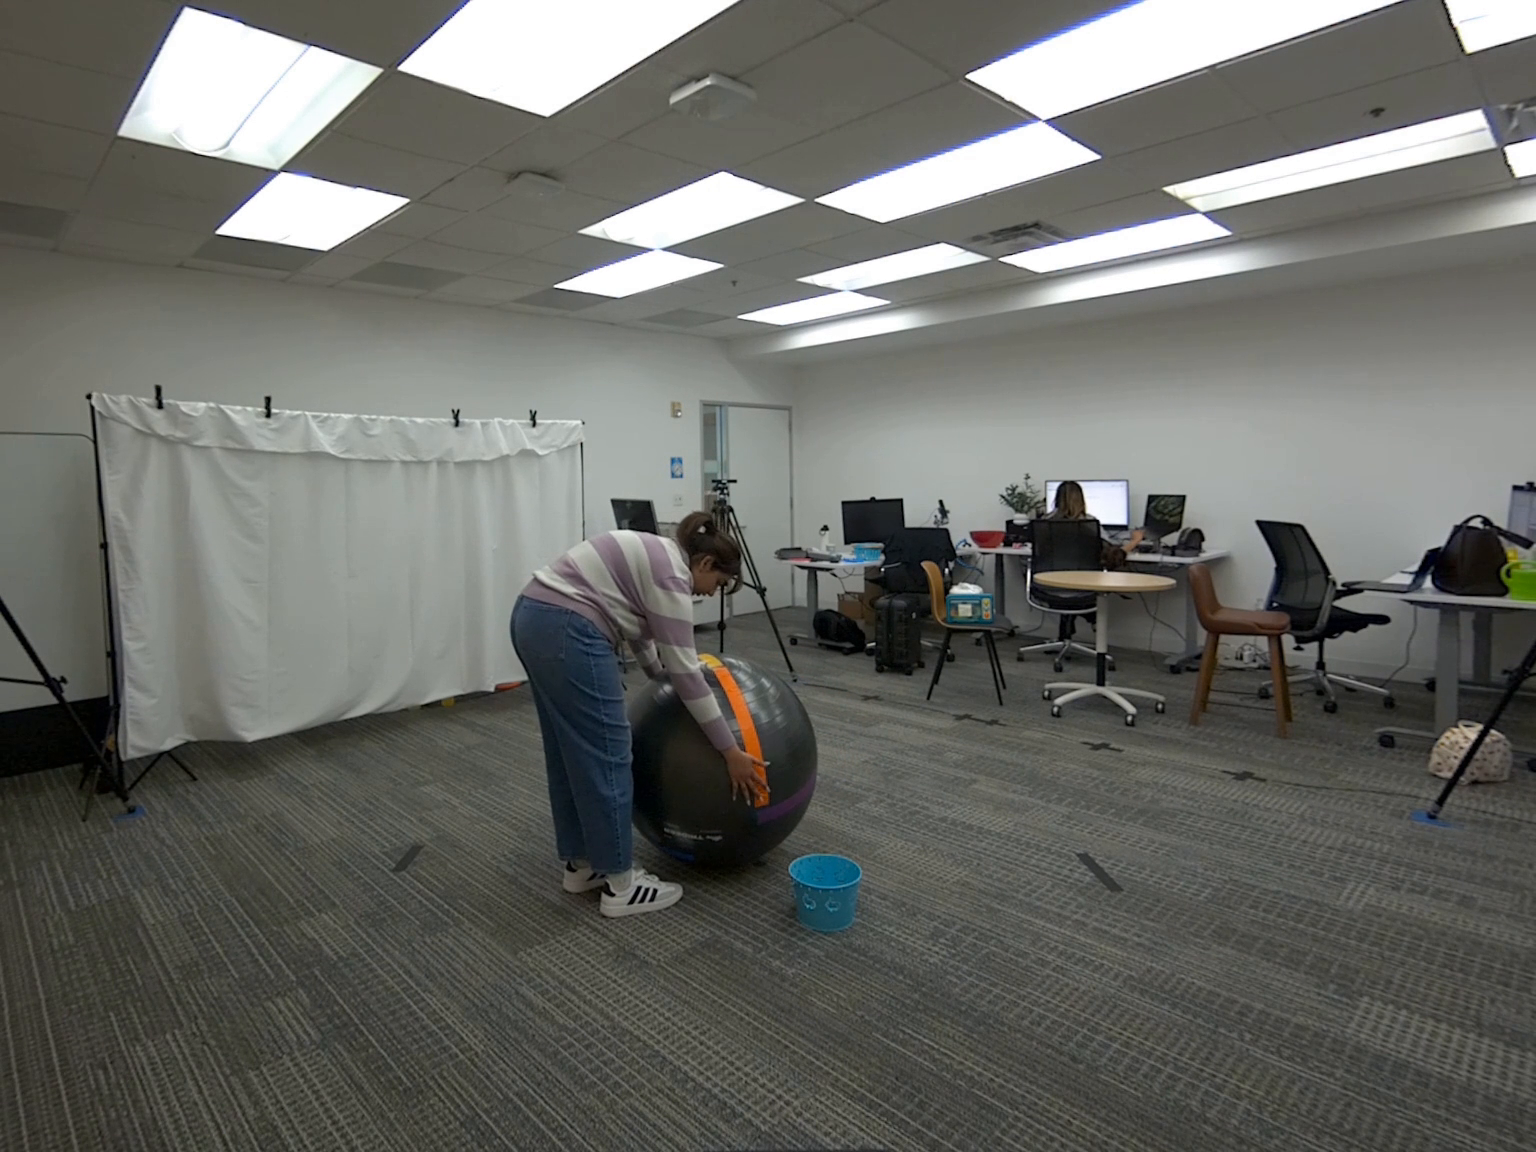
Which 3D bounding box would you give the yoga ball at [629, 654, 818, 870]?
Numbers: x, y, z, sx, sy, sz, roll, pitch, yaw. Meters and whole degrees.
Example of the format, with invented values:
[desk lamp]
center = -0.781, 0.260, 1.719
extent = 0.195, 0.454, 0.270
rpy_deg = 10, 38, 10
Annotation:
[yoga ball]
center = -0.192, 0.677, 3.157
extent = 0.757, 0.755, 0.762
rpy_deg = -1, 5, -2
